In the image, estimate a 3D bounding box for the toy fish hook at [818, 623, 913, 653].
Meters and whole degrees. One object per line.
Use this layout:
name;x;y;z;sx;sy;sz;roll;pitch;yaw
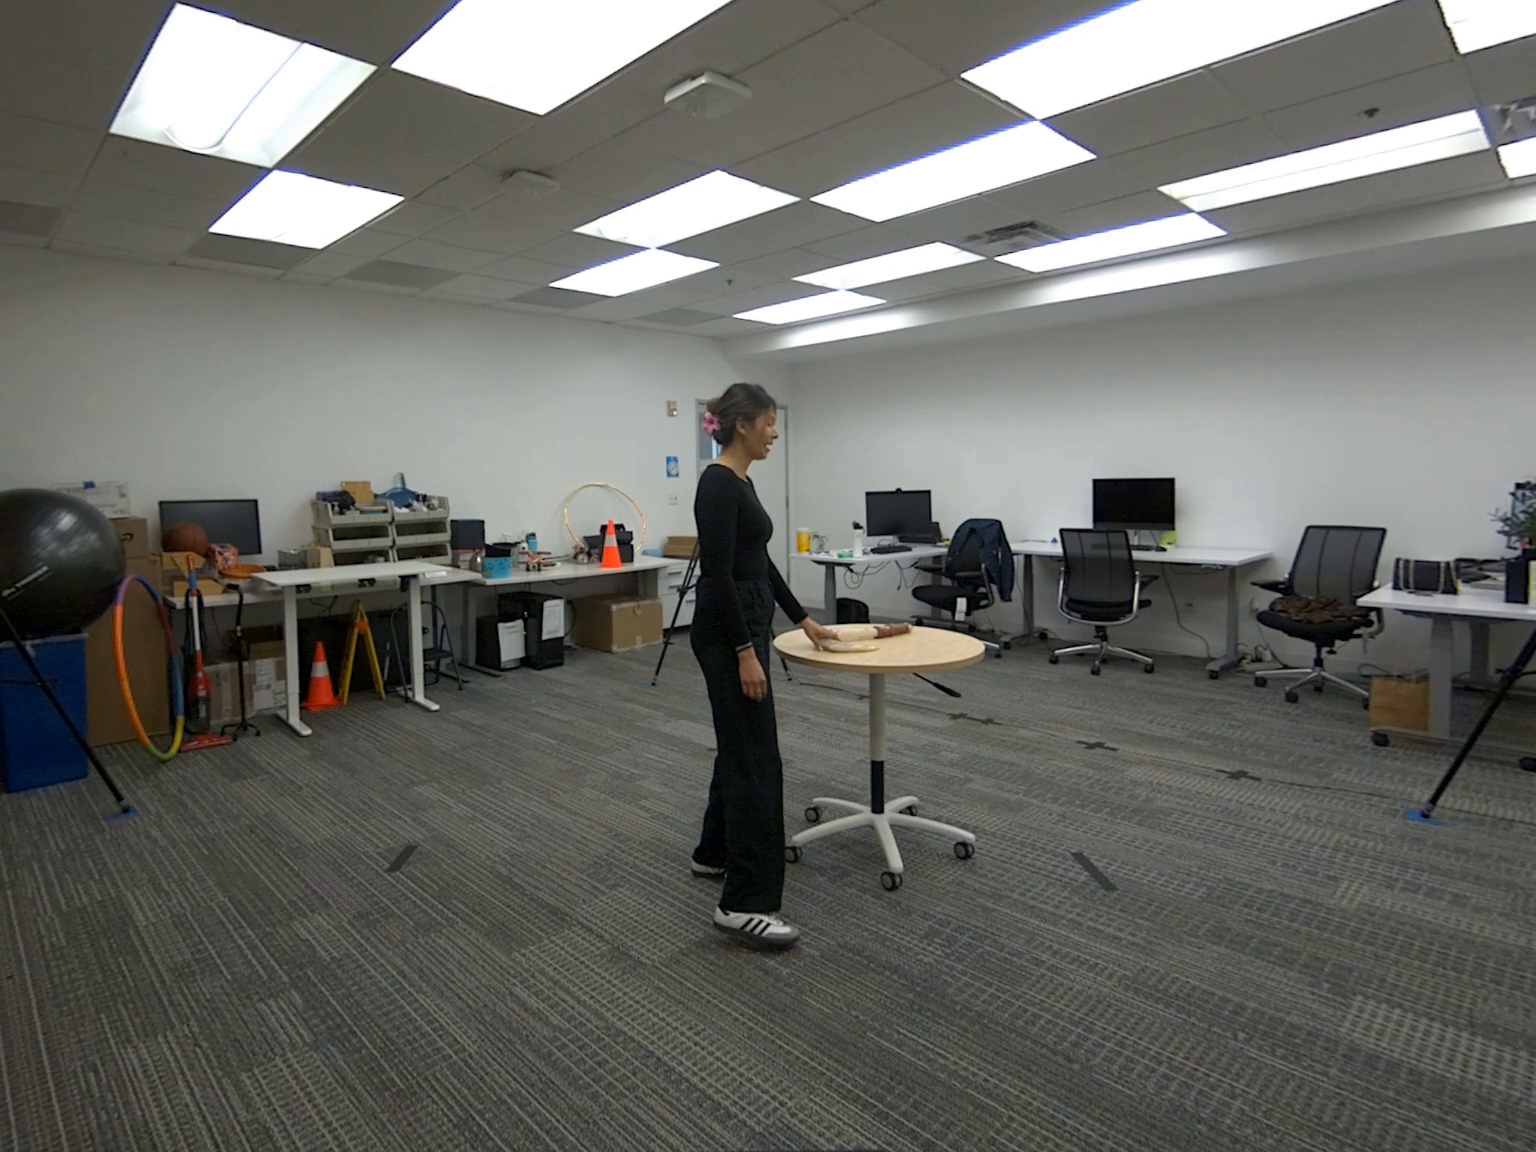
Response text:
toy fish hook;0.404;0.230;3.167;0.494;0.048;0.232;-6;15;-36
